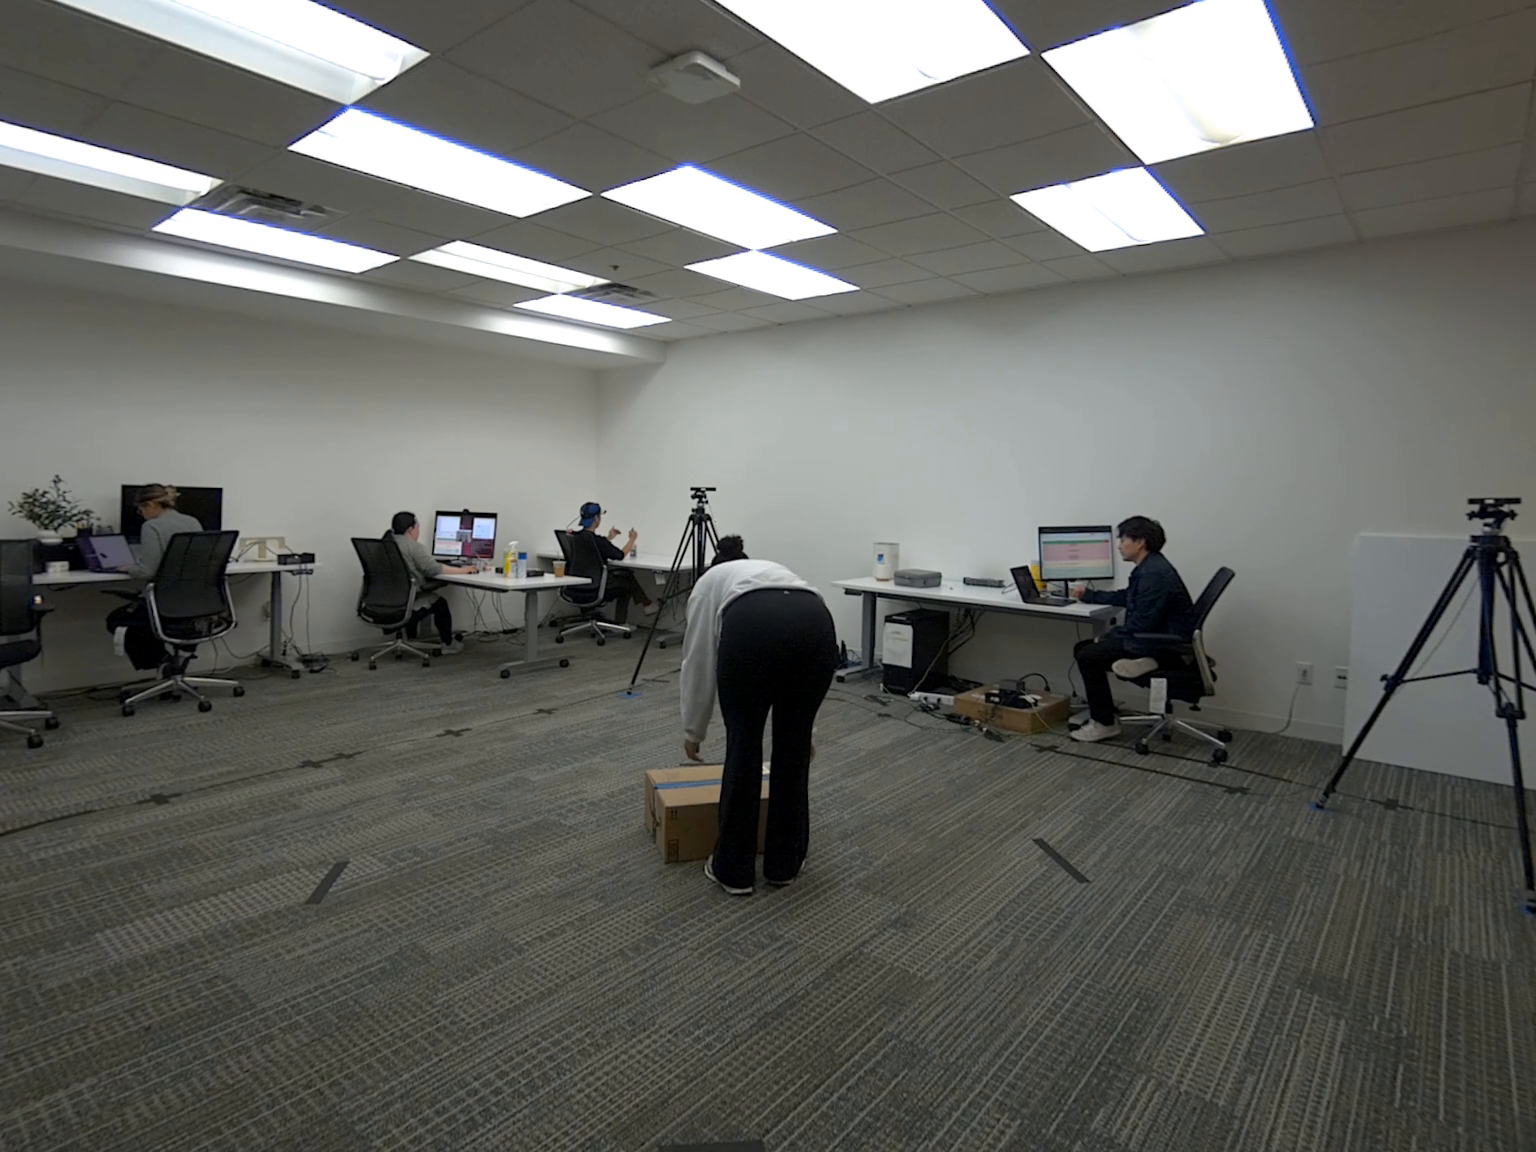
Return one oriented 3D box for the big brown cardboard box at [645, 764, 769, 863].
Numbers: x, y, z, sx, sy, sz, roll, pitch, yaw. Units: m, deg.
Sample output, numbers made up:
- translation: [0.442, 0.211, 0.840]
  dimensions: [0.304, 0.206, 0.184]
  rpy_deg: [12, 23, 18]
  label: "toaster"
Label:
- translation: [-0.191, 0.925, 3.416]
  dimensions: [0.579, 0.232, 0.427]
  rpy_deg: [-1, 6, -18]
  label: "big brown cardboard box"
